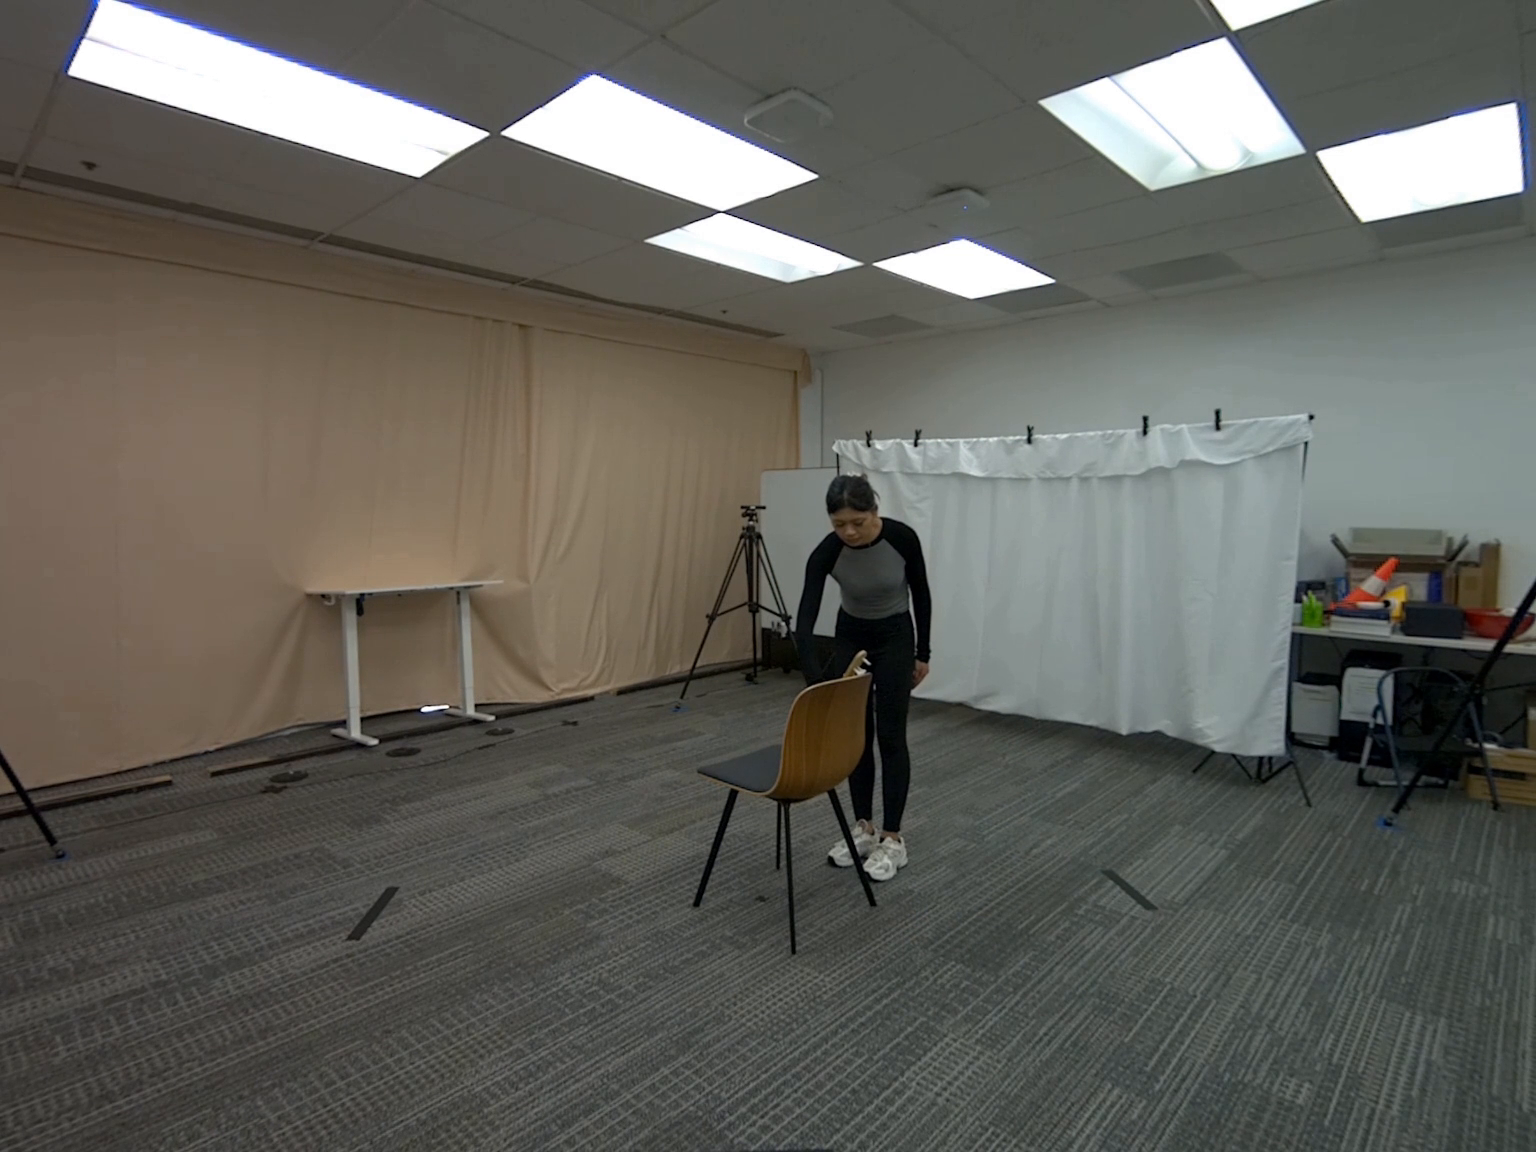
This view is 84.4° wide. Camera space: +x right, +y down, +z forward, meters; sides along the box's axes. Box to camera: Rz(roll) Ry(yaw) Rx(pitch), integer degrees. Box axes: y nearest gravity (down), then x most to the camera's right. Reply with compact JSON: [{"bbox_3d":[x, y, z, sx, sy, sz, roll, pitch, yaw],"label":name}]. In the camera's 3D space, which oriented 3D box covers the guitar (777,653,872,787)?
[{"bbox_3d":[0.197,0.466,2.789,0.188,0.495,0.073,-16,47,-45],"label":"guitar"}]
